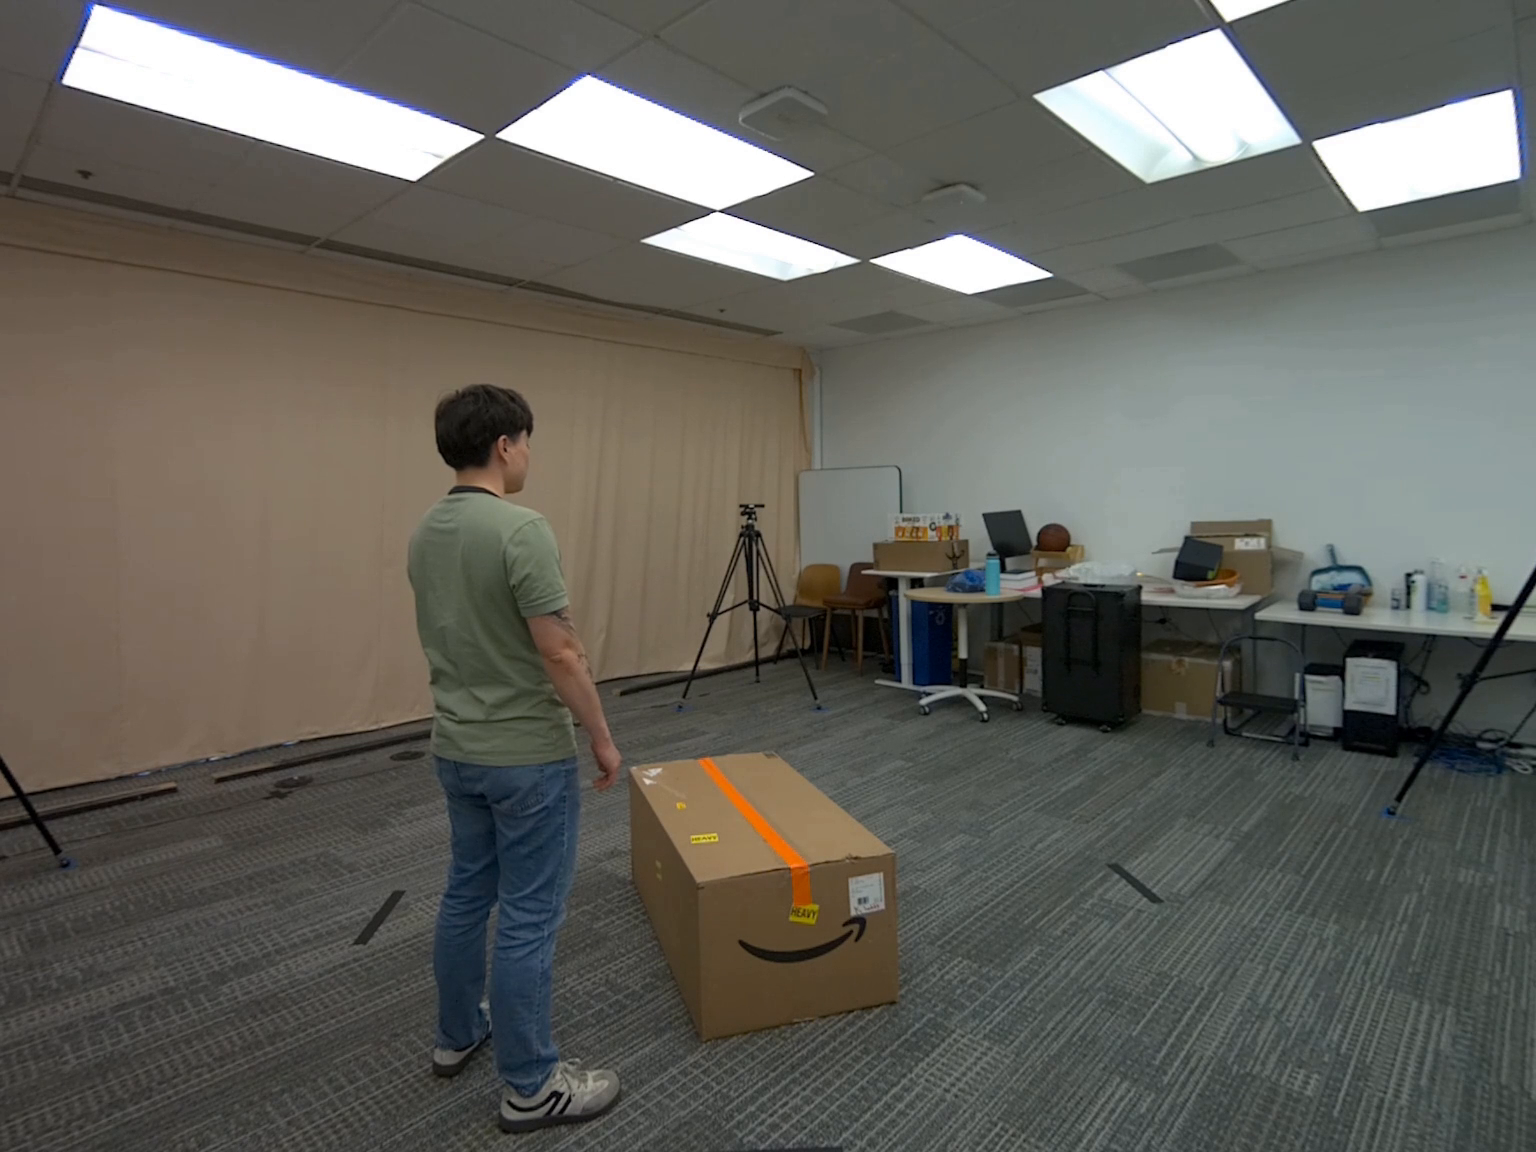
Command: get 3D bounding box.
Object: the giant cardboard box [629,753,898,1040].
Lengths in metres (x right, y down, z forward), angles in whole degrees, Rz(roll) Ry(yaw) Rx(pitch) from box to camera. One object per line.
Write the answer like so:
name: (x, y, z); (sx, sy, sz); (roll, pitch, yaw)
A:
giant cardboard box: (-0.073, 0.944, 2.741); (0.567, 0.425, 1.047); (-3, 5, -19)
